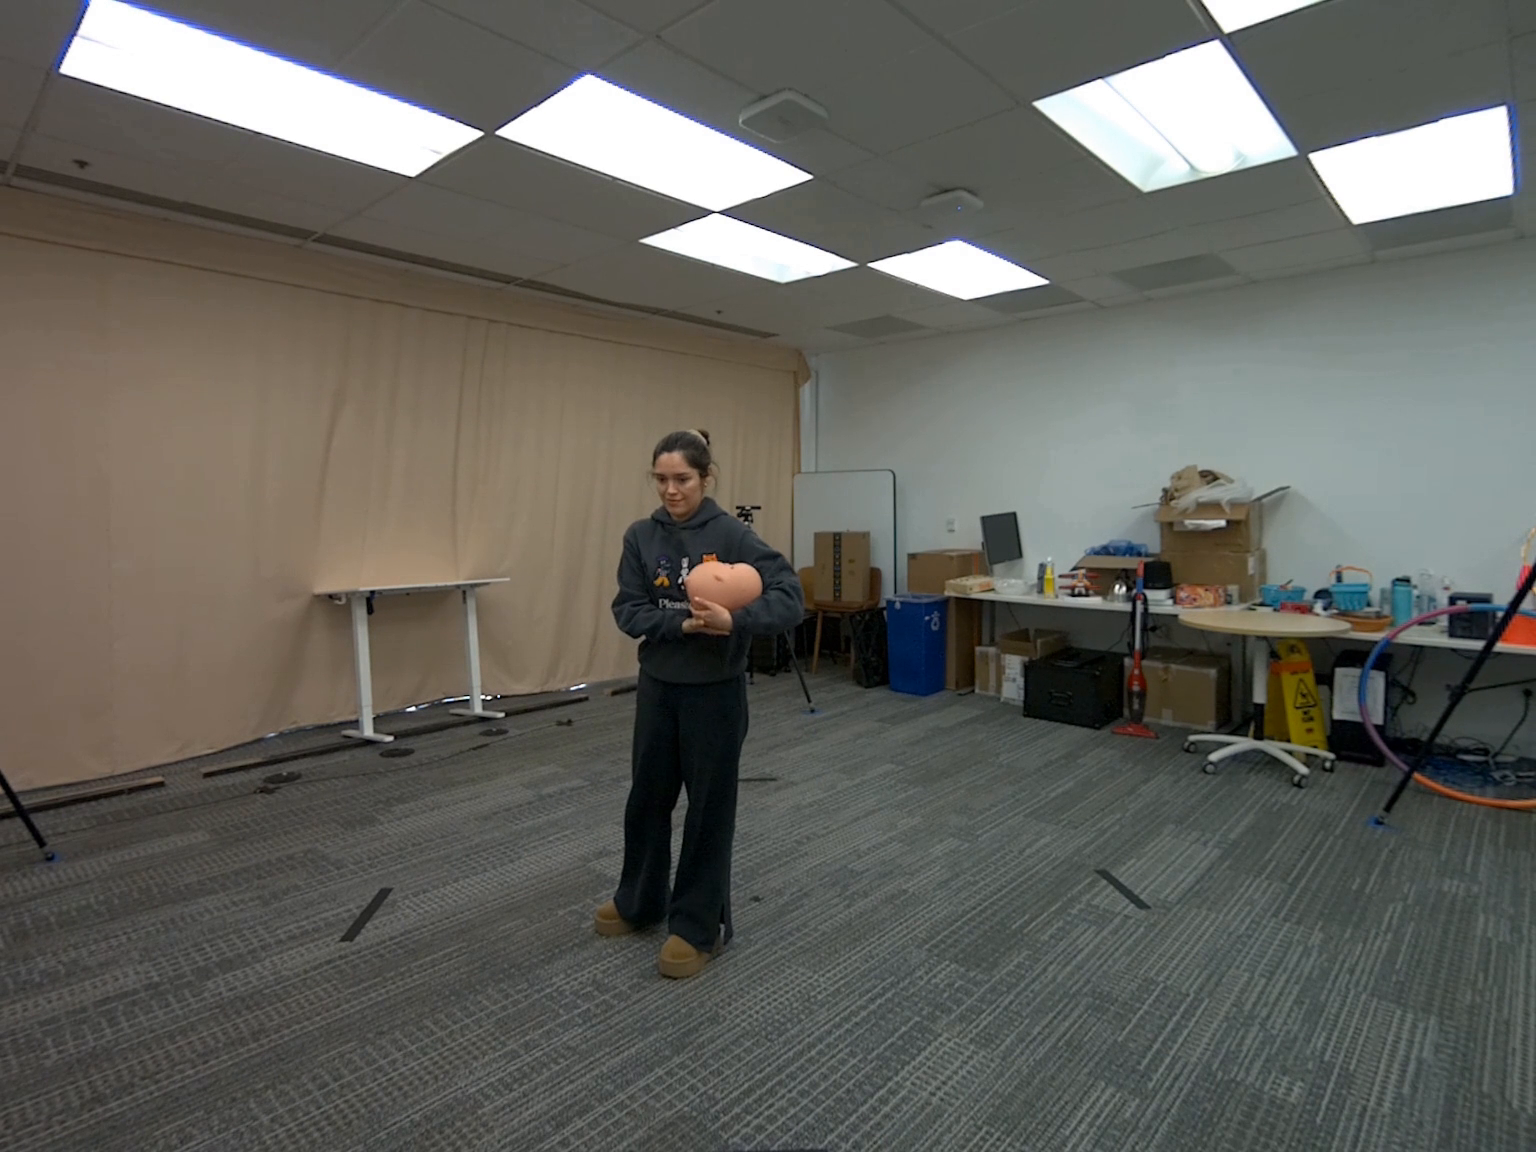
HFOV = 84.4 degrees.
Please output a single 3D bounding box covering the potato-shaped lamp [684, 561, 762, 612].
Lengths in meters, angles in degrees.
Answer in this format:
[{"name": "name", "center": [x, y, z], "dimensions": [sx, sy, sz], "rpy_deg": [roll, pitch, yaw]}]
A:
[{"name": "potato-shaped lamp", "center": [-0.116, 0.043, 2.363], "dimensions": [0.200, 0.170, 0.164], "rpy_deg": [-17, 9, 15]}]
